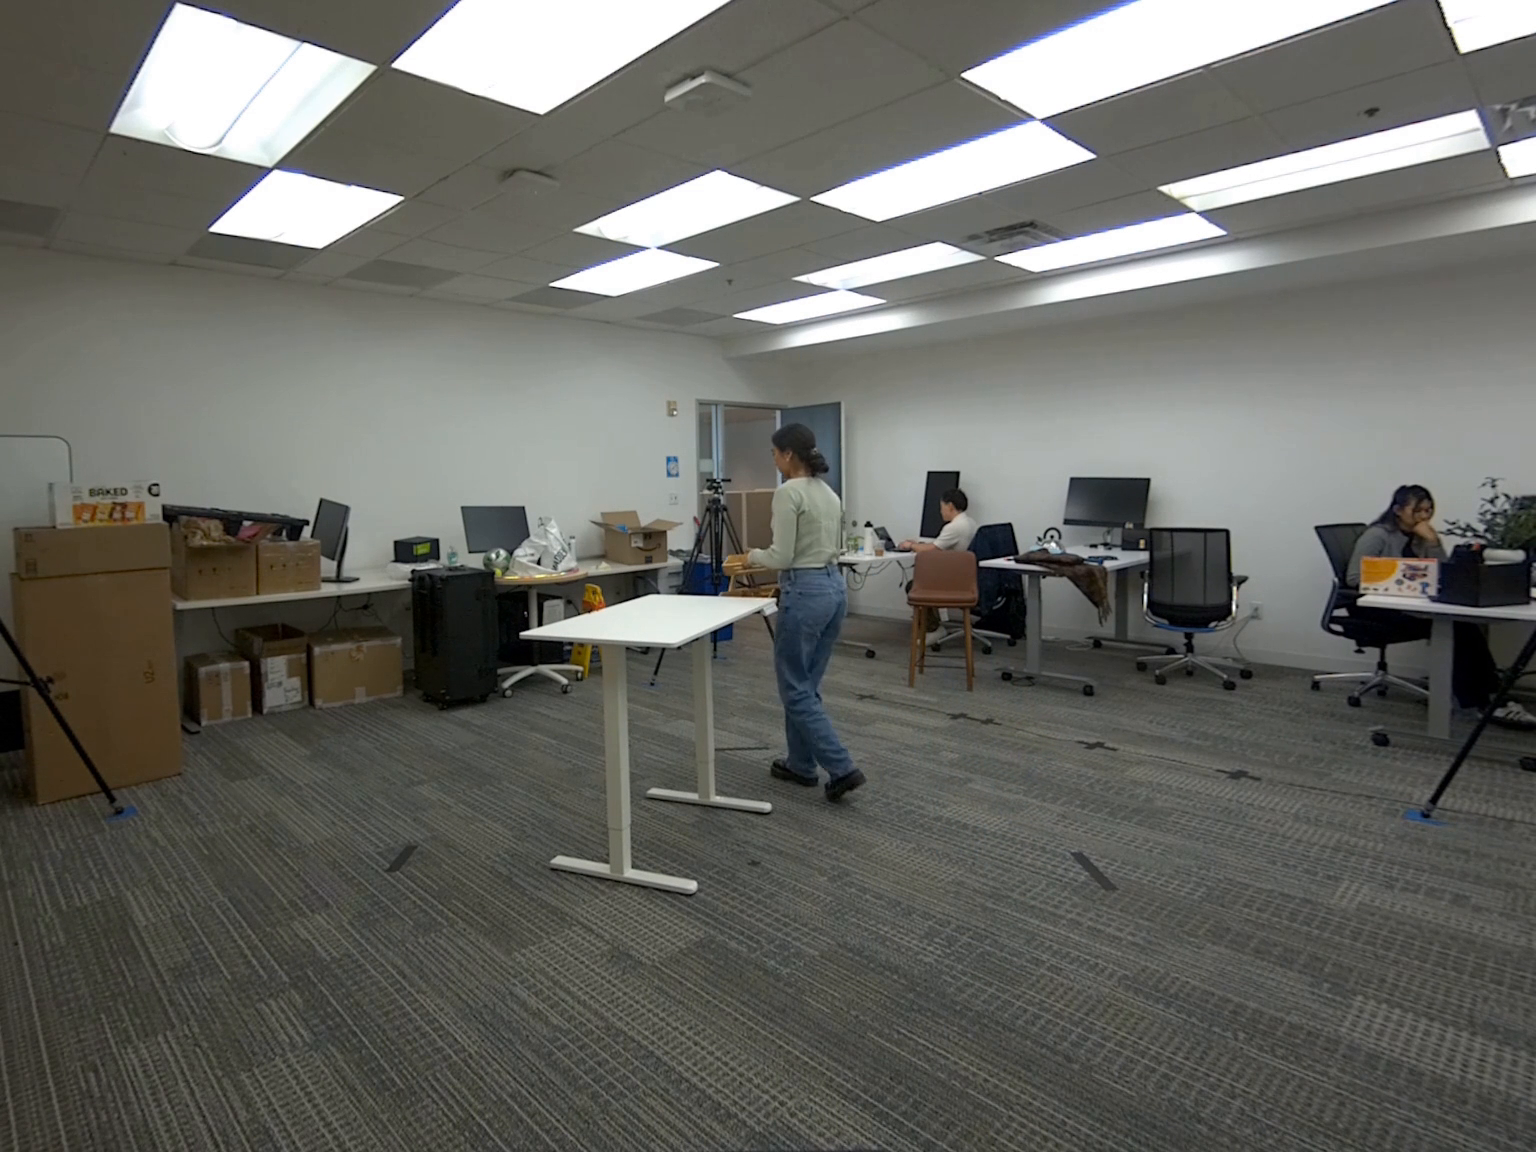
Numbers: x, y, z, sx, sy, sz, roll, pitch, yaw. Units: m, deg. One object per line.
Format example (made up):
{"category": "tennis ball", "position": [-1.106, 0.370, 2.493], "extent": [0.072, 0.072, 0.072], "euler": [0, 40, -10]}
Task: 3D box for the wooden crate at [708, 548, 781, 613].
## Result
{"category": "wooden crate", "position": [-0.047, 0.016, 3.966], "extent": [0.333, 0.274, 0.294], "euler": [-4, -1, 35]}
